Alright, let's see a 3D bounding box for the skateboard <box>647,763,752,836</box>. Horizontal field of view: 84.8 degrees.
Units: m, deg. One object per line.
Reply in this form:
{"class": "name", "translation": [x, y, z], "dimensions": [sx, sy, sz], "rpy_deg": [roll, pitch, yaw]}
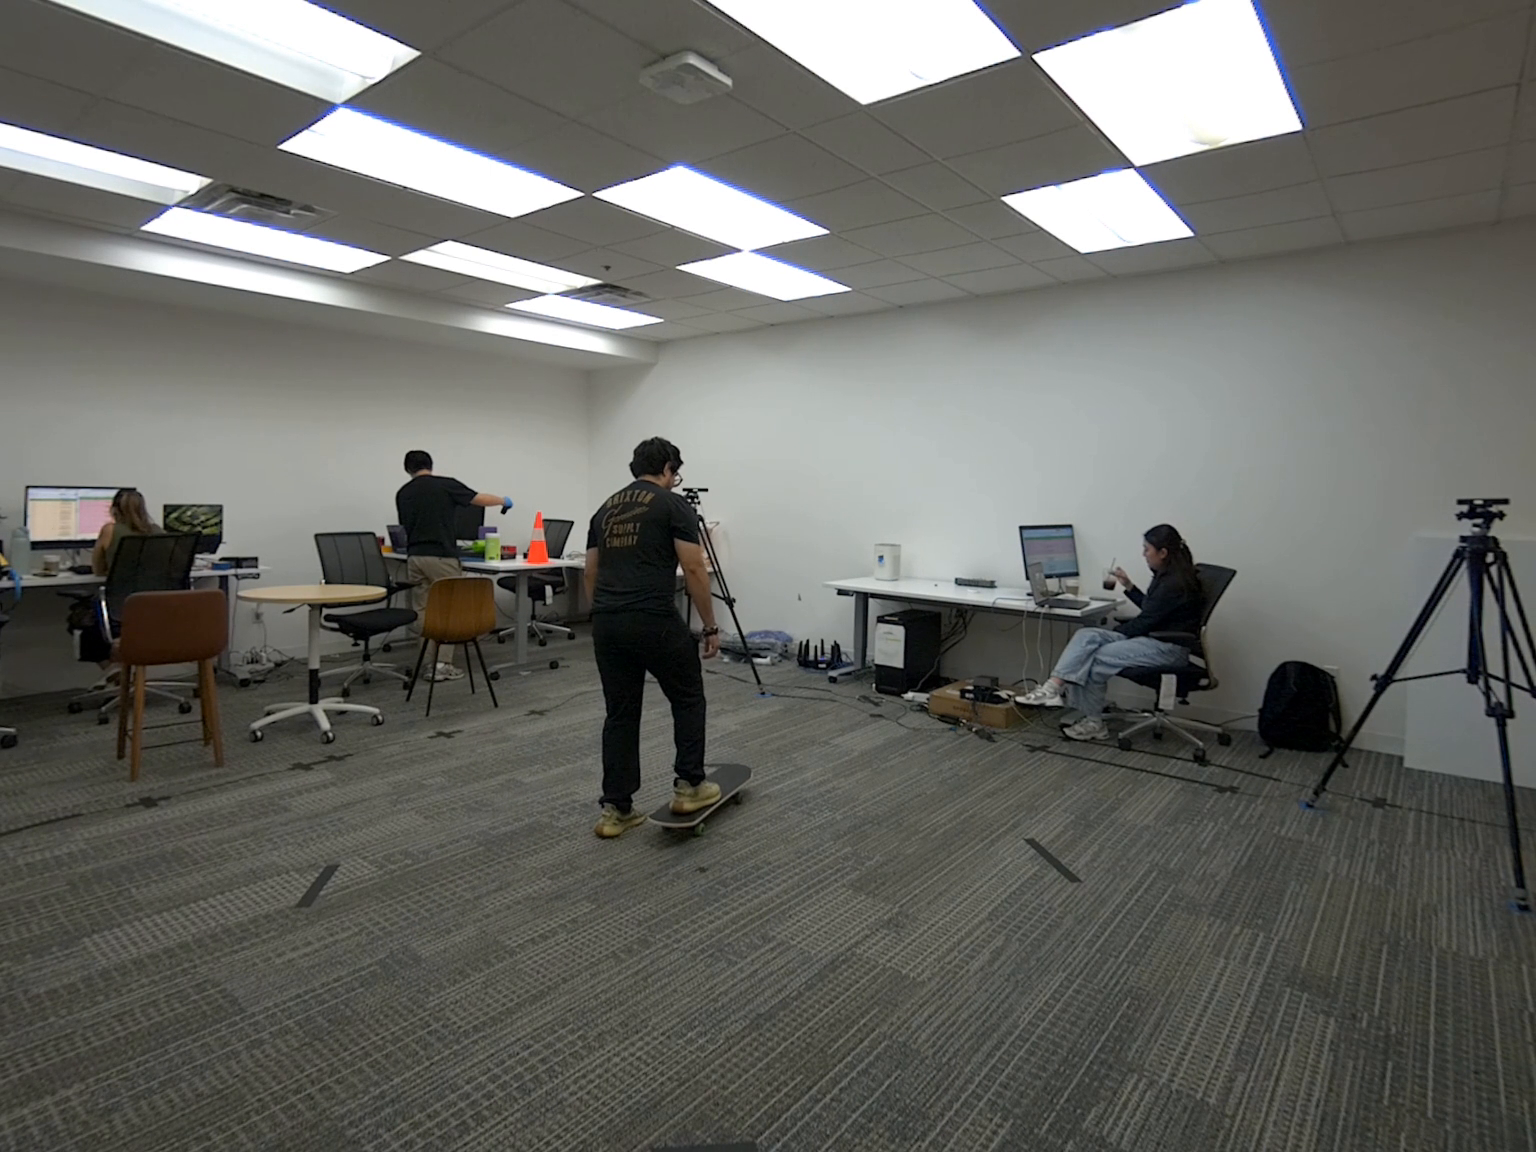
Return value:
{"class": "skateboard", "translation": [-0.283, 0.964, 3.627], "dimensions": [0.198, 0.110, 0.770], "rpy_deg": [1, 6, 22]}
